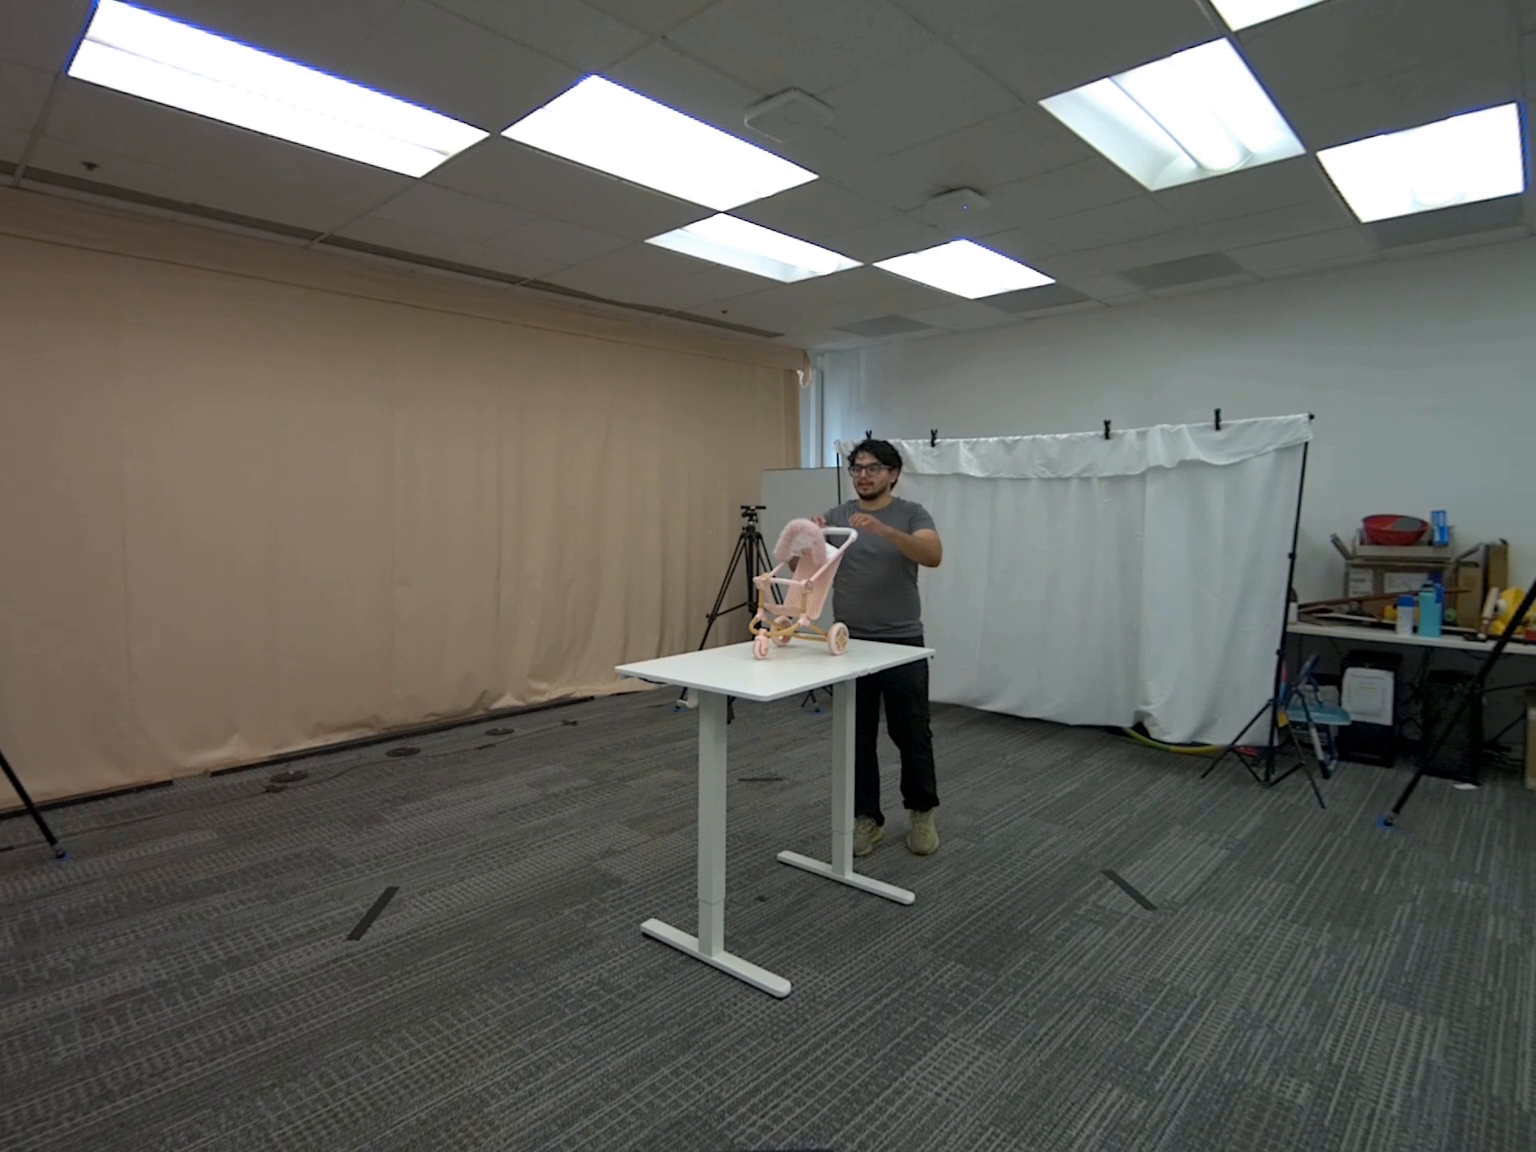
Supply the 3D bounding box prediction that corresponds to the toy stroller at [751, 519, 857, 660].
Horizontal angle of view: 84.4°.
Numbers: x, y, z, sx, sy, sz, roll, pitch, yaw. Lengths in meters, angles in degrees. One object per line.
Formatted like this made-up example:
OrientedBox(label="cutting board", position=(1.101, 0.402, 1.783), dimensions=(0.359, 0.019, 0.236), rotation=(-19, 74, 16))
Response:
OrientedBox(label="toy stroller", position=(0.107, 0.045, 2.908), dimensions=(0.329, 0.536, 0.291), rotation=(19, -10, -43))
